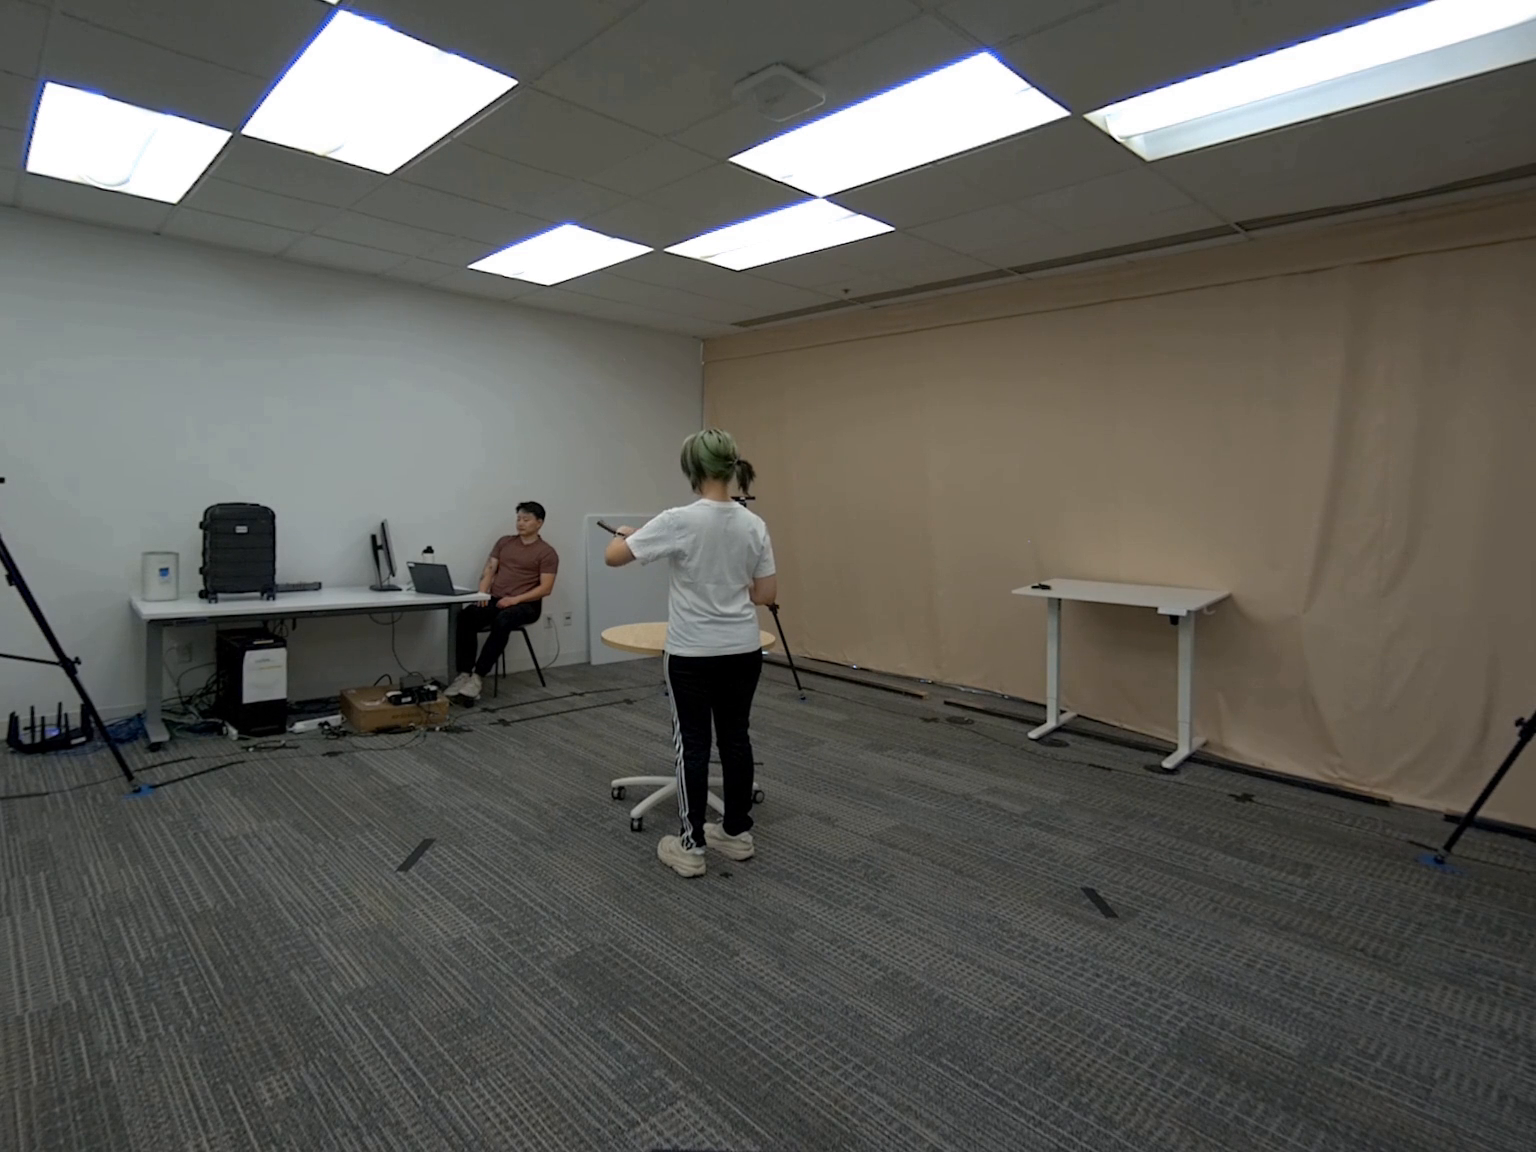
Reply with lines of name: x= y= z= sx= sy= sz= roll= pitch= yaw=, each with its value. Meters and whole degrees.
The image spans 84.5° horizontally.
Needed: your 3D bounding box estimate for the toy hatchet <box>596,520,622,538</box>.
toy hatchet: x=-0.579 y=-0.175 z=3.420 sx=0.267 sy=0.029 sz=0.133 roll=31 pitch=28 yaw=-9
